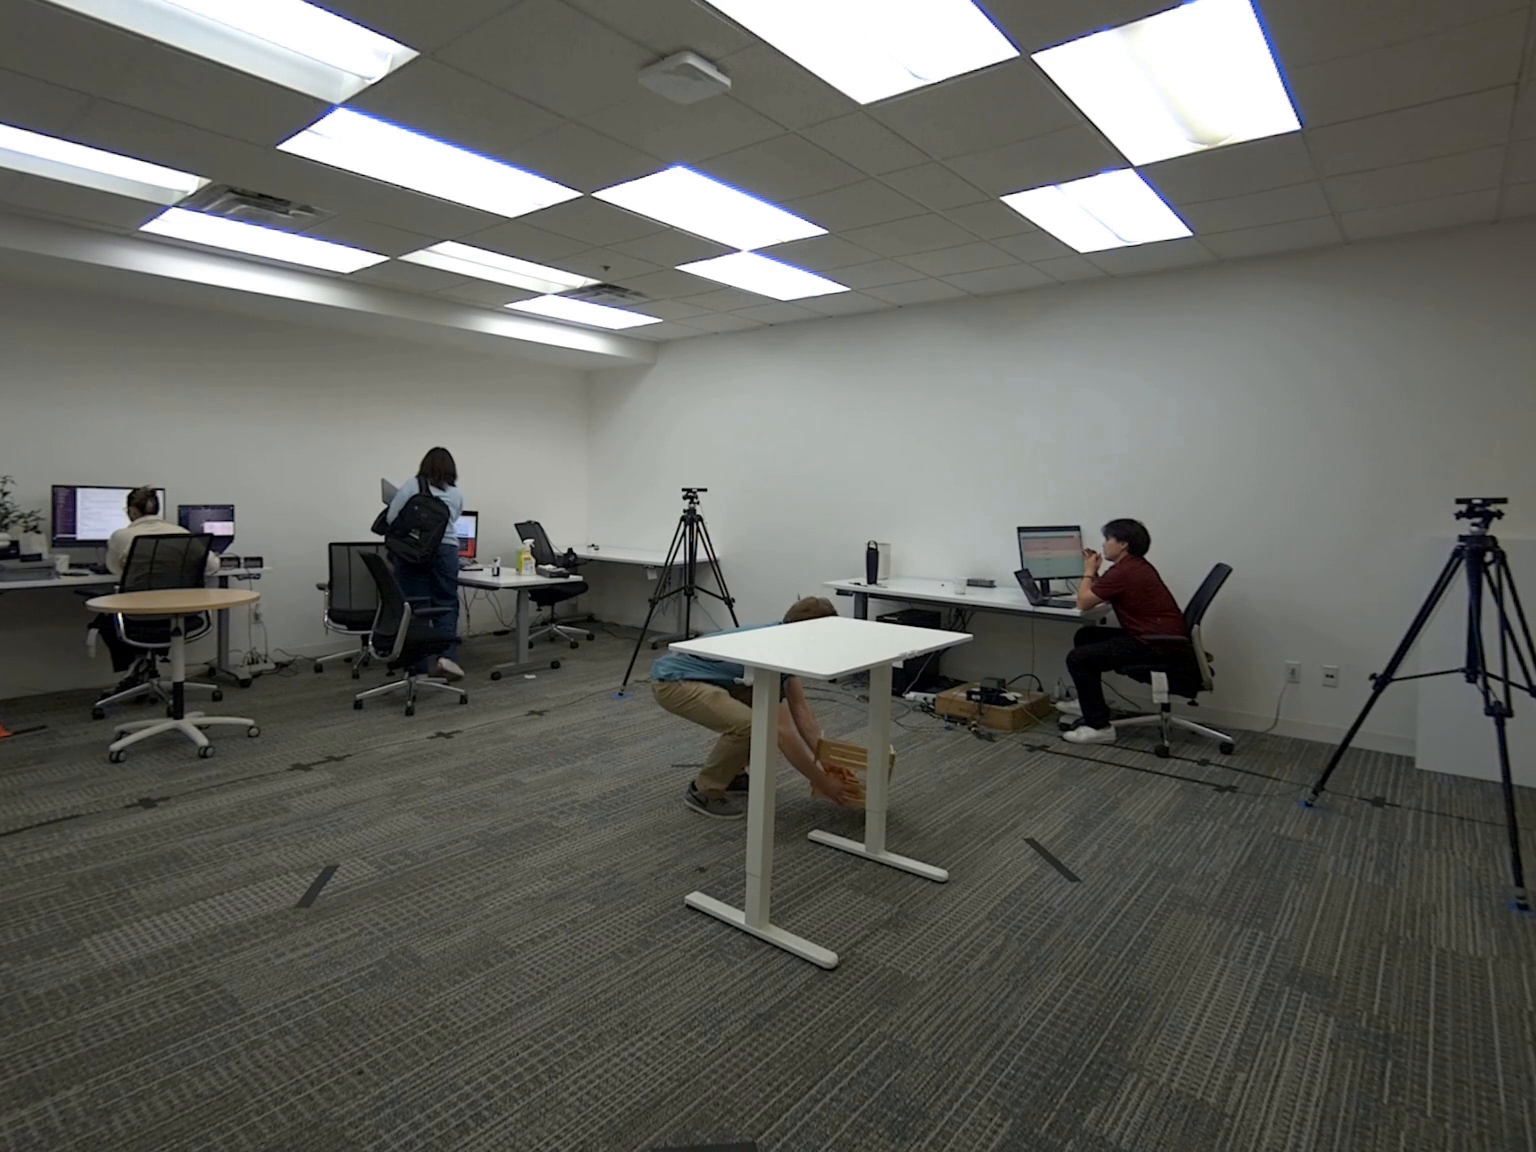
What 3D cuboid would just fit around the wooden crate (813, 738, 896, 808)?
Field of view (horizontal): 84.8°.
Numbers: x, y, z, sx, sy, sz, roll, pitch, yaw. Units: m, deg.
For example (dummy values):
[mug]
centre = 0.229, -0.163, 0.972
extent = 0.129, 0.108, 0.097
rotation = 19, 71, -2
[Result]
[wooden crate]
centre = 0.353, 0.815, 3.647
extent = 0.327, 0.272, 0.300
rotation = 9, 5, 7
